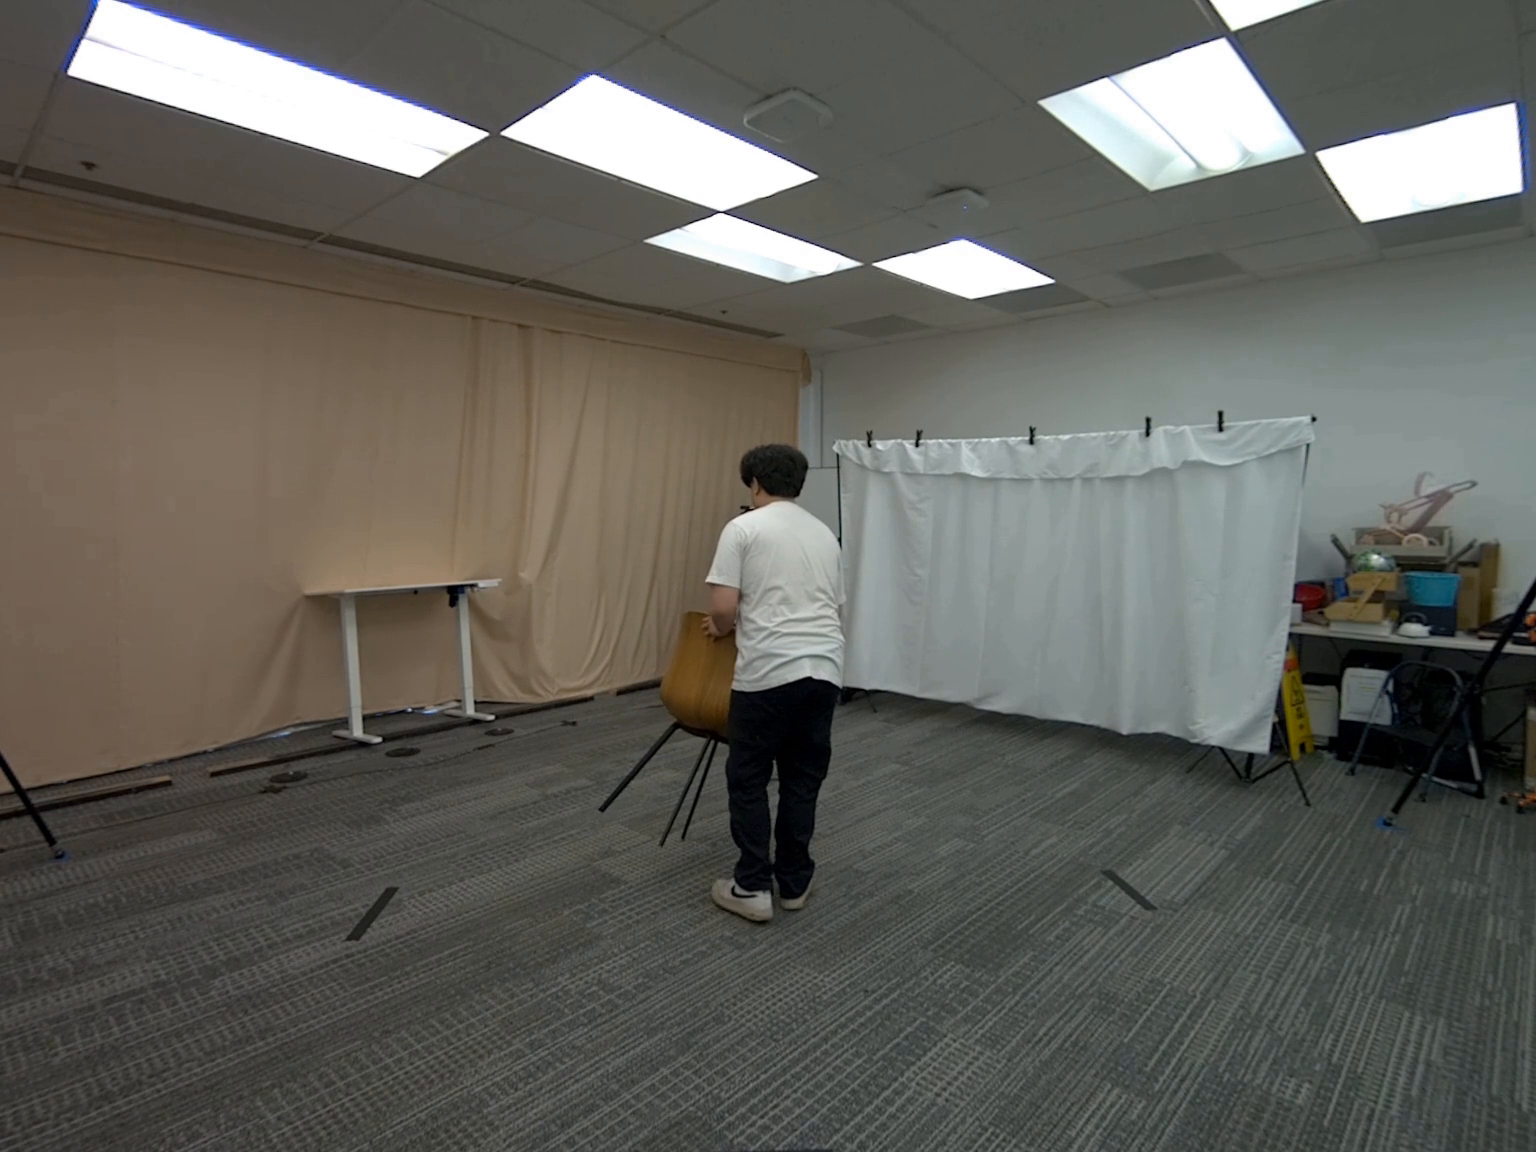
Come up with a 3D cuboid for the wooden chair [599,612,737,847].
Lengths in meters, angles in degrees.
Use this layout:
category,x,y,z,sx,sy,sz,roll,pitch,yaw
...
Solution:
category,x,y,z,sx,sy,sz,roll,pitch,yaw
wooden chair,-0.209,0.638,3.323,0.505,0.880,0.493,26,-14,-36
